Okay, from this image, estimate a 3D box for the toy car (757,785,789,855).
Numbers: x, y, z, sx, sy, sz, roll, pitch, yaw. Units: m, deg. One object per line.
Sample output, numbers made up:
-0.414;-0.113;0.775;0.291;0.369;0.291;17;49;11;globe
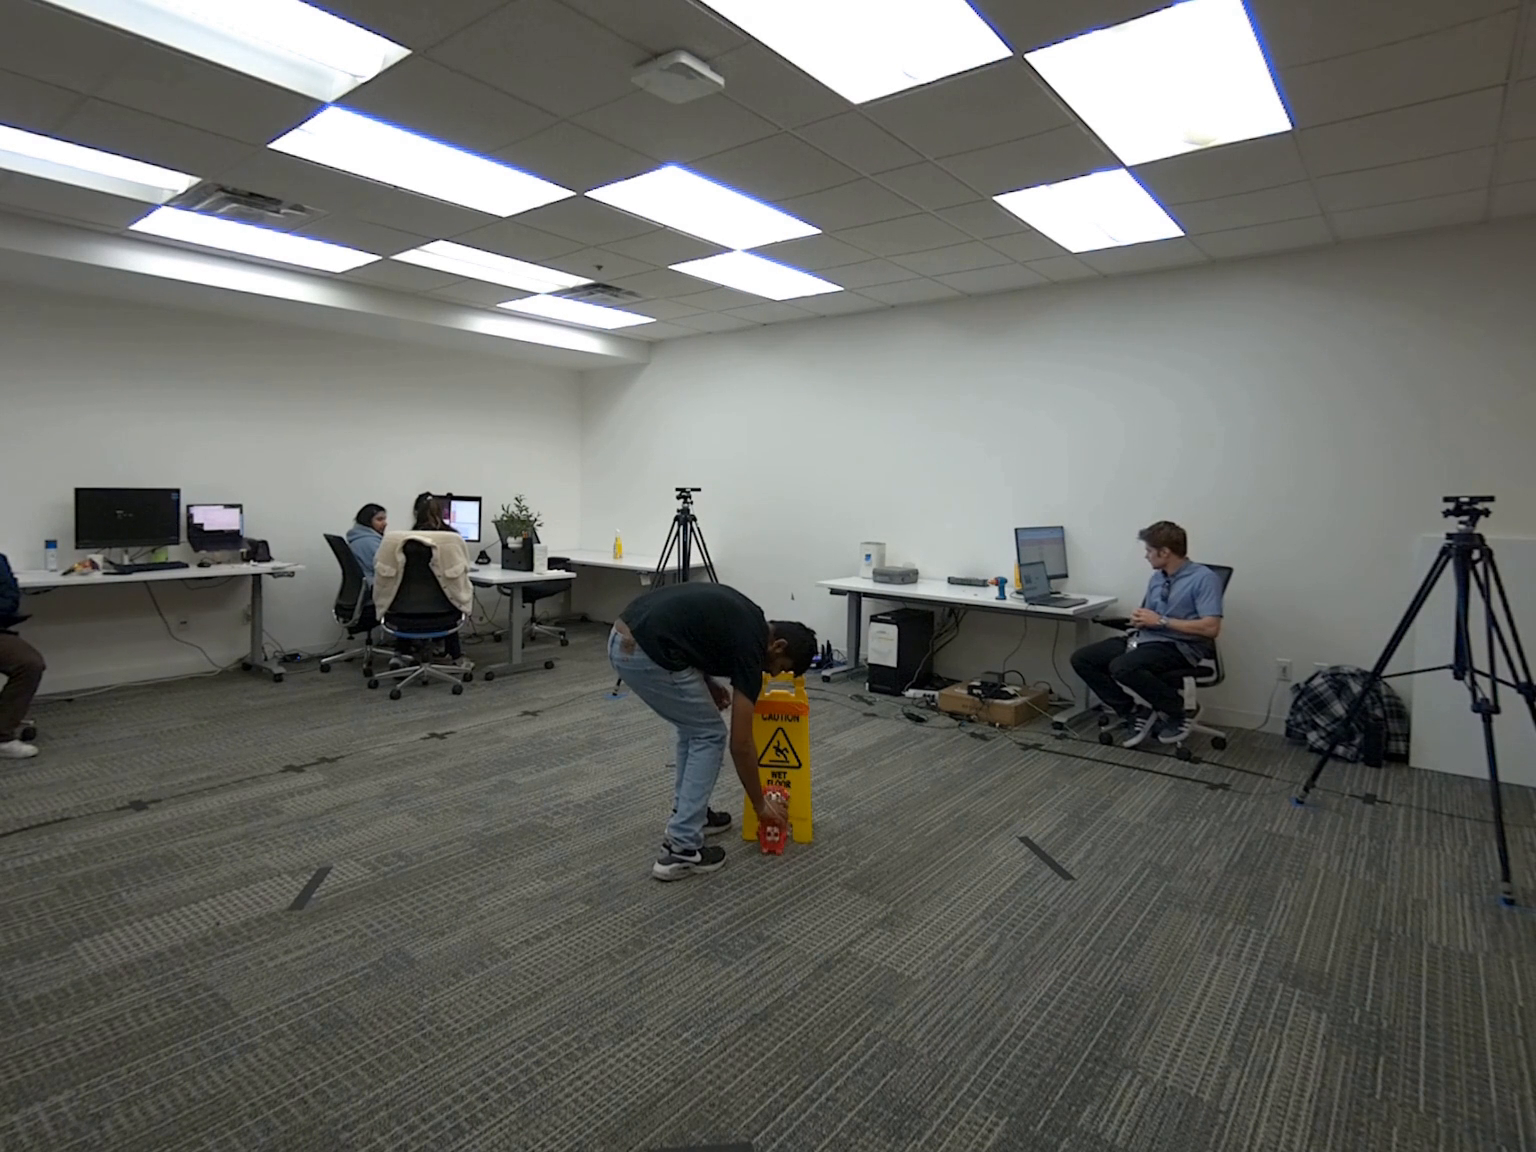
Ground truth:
0.015;0.939;3.313;0.131;0.260;0.081;5;-36;2;toy car
